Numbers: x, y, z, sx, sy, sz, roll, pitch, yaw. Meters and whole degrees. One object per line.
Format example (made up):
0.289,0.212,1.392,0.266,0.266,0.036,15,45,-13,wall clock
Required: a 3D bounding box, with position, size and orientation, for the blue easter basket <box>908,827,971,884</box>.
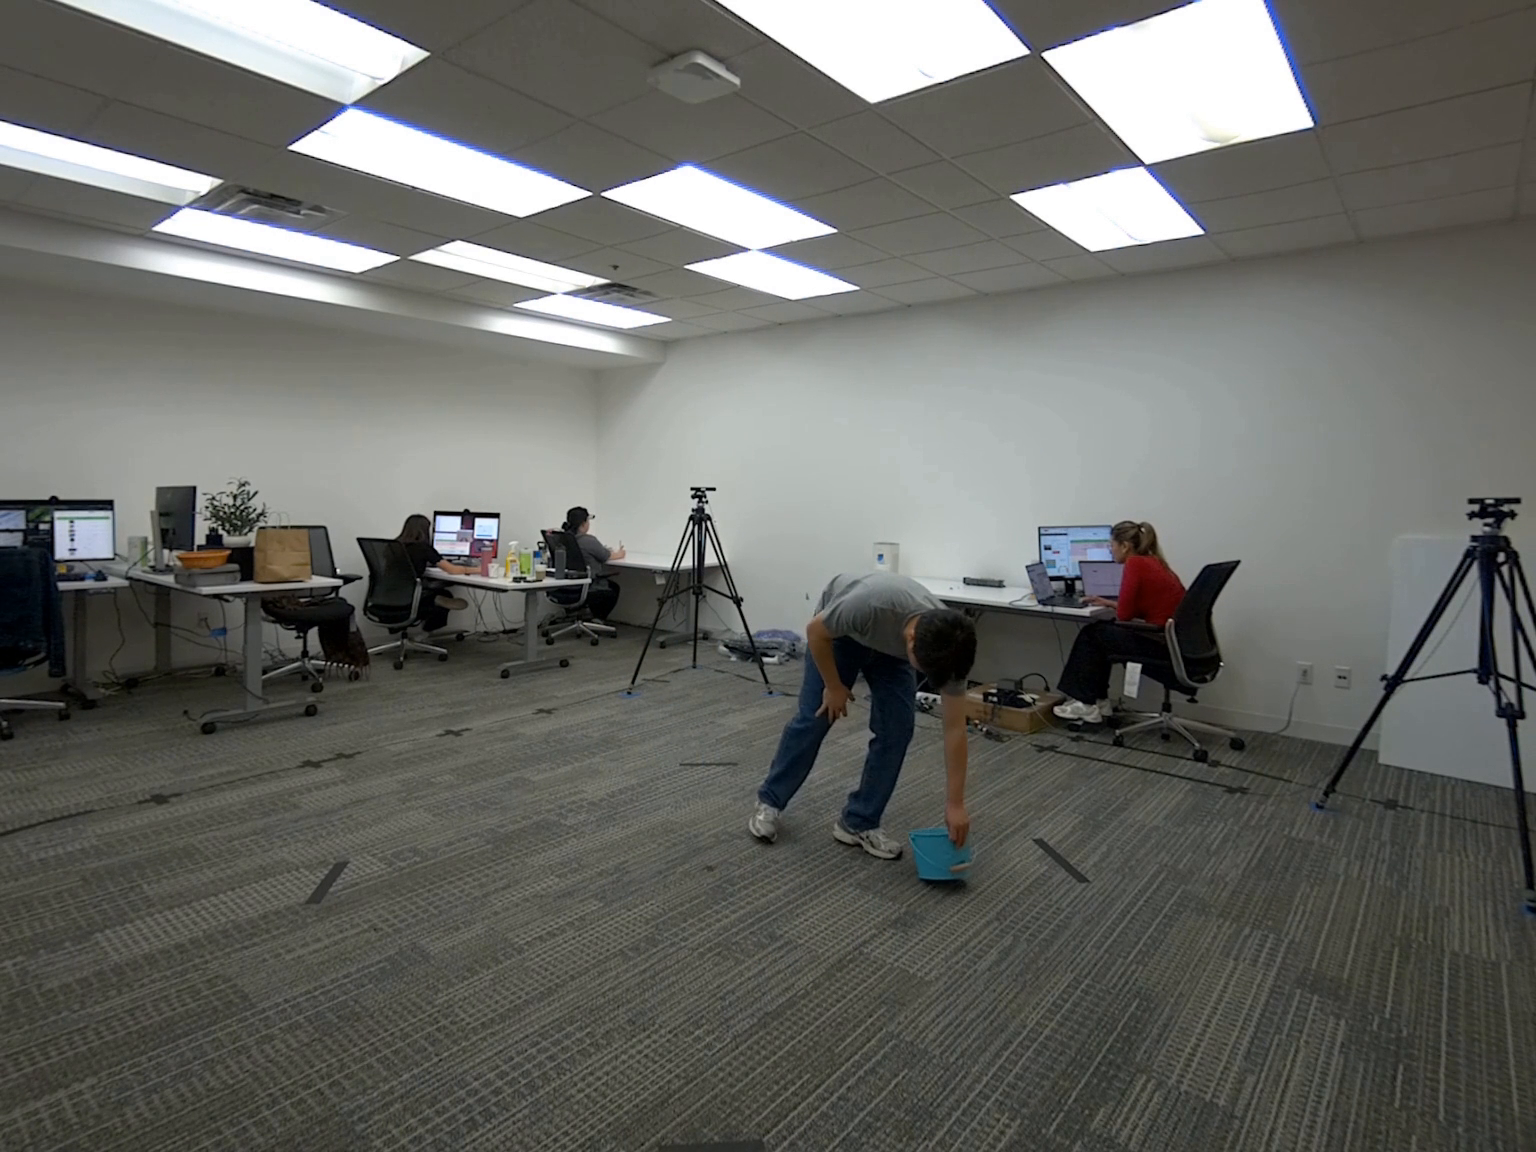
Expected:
0.618,0.993,3.057,0.243,0.158,0.241,-3,-12,-3,blue easter basket
